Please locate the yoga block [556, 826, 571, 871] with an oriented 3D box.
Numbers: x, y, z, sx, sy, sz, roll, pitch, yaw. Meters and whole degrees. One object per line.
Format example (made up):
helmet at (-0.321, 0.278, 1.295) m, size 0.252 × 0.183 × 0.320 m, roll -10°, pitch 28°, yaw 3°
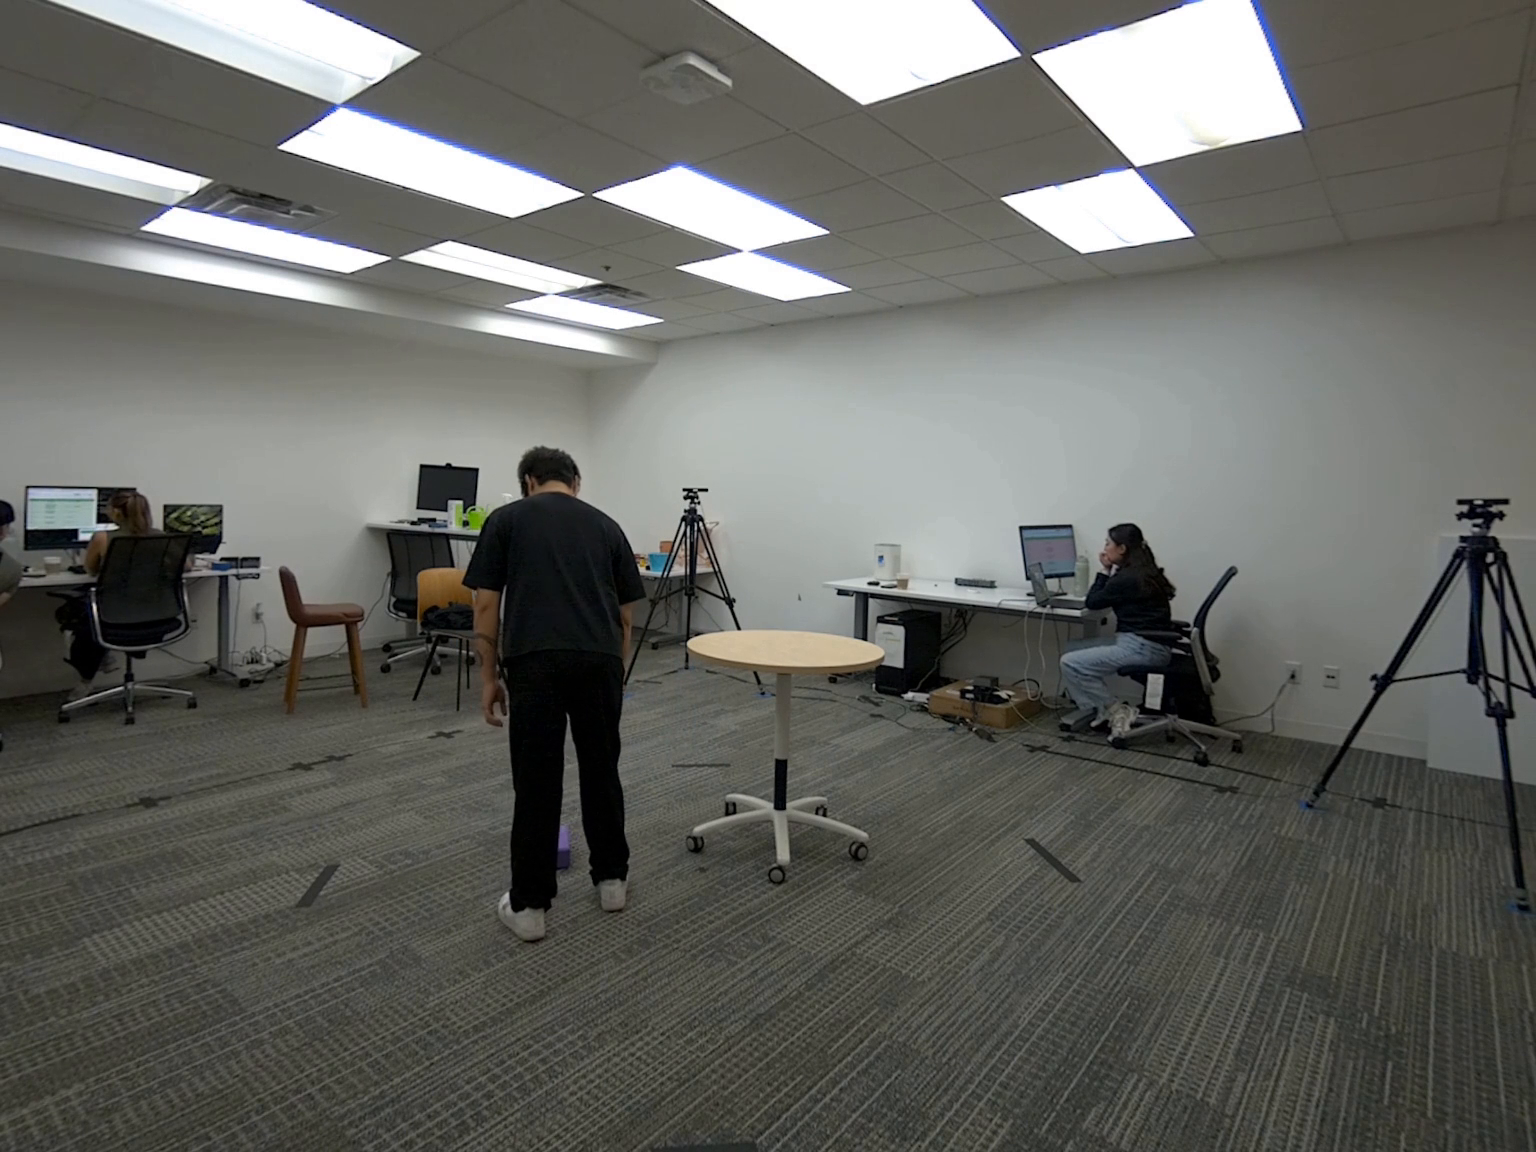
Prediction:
yoga block at (-0.829, 1.011, 3.181) m, size 0.147 × 0.076 × 0.233 m, roll 1°, pitch 5°, yaw -13°
